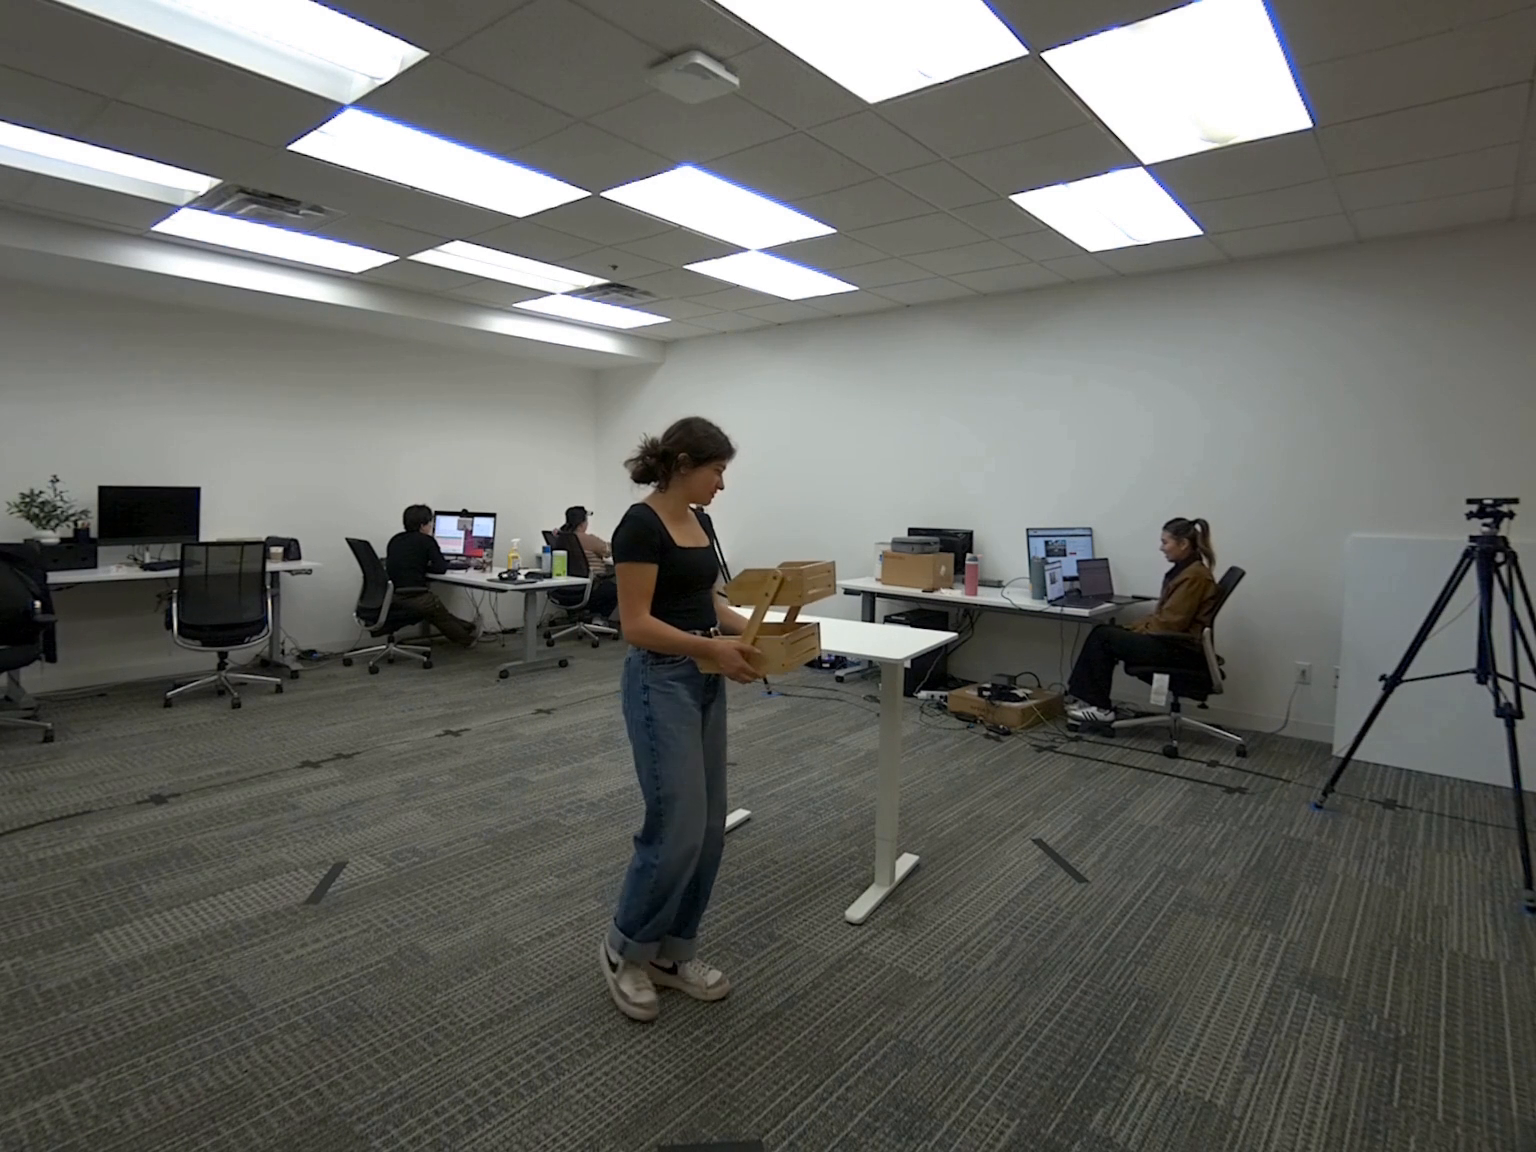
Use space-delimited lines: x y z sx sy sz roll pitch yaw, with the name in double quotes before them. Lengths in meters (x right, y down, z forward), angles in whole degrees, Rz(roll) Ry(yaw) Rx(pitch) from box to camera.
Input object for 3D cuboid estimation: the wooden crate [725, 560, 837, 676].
"wooden crate" -0.015 0.099 2.232 0.308 0.273 0.318 -1 3 20
